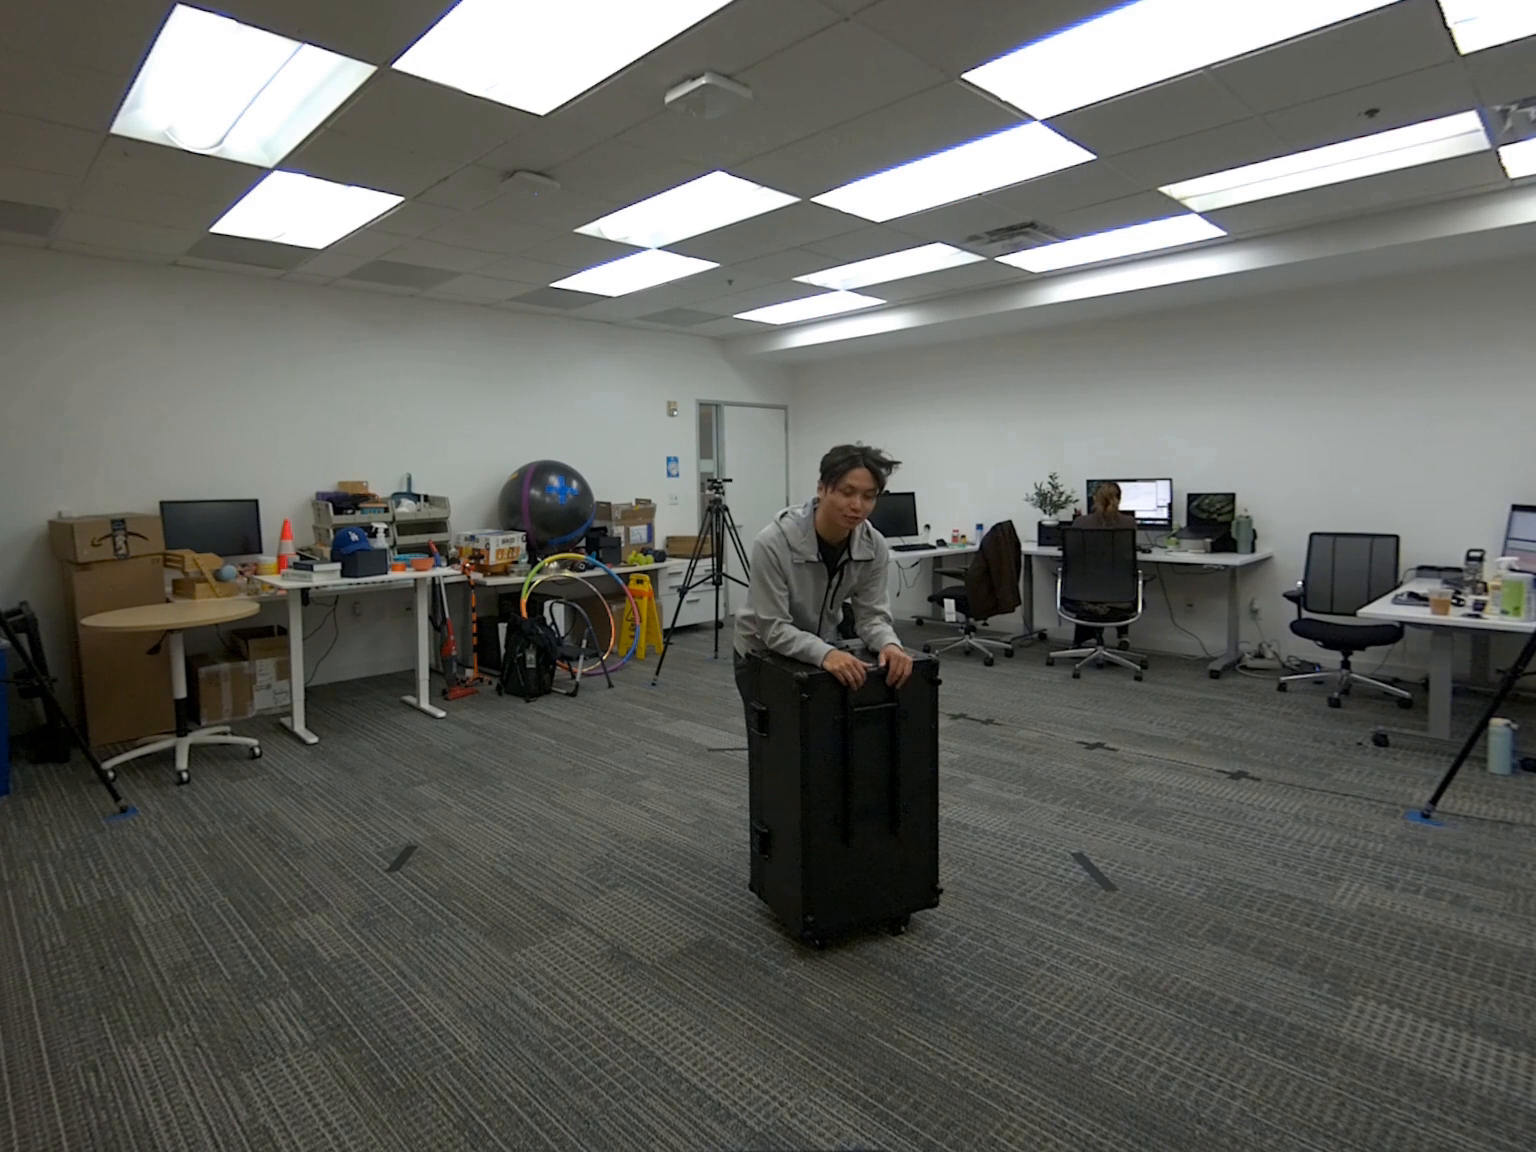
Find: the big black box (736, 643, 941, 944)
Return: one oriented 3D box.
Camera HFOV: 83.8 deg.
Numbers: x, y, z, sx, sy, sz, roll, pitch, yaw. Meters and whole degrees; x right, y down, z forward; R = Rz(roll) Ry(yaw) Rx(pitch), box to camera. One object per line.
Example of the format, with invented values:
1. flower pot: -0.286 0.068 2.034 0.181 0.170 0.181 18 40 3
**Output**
1. big black box: 0.244 0.666 2.655 0.511 0.857 0.406 -4 6 -23
